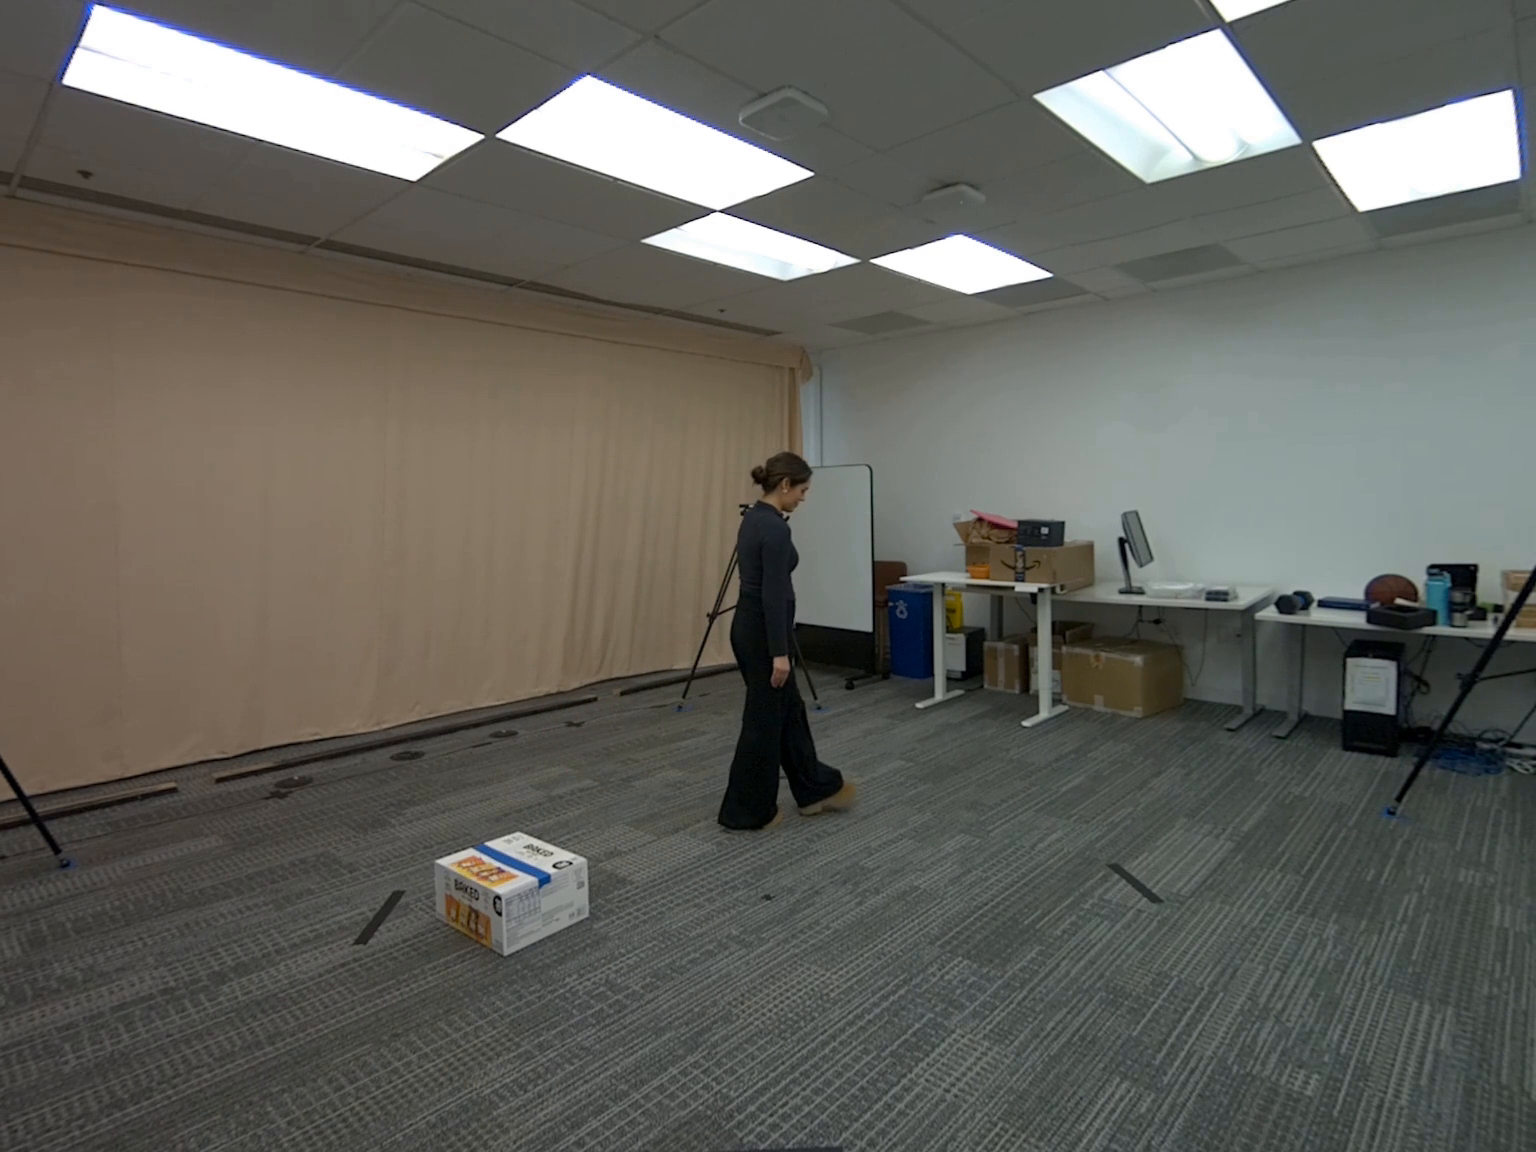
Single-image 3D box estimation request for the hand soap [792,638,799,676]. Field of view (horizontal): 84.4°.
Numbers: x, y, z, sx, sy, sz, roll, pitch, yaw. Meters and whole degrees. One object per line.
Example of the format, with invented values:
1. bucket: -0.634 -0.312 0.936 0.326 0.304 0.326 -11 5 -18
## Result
1. hand soap: 0.087 0.381 3.947 0.084 0.167 0.044 -5 7 -10
